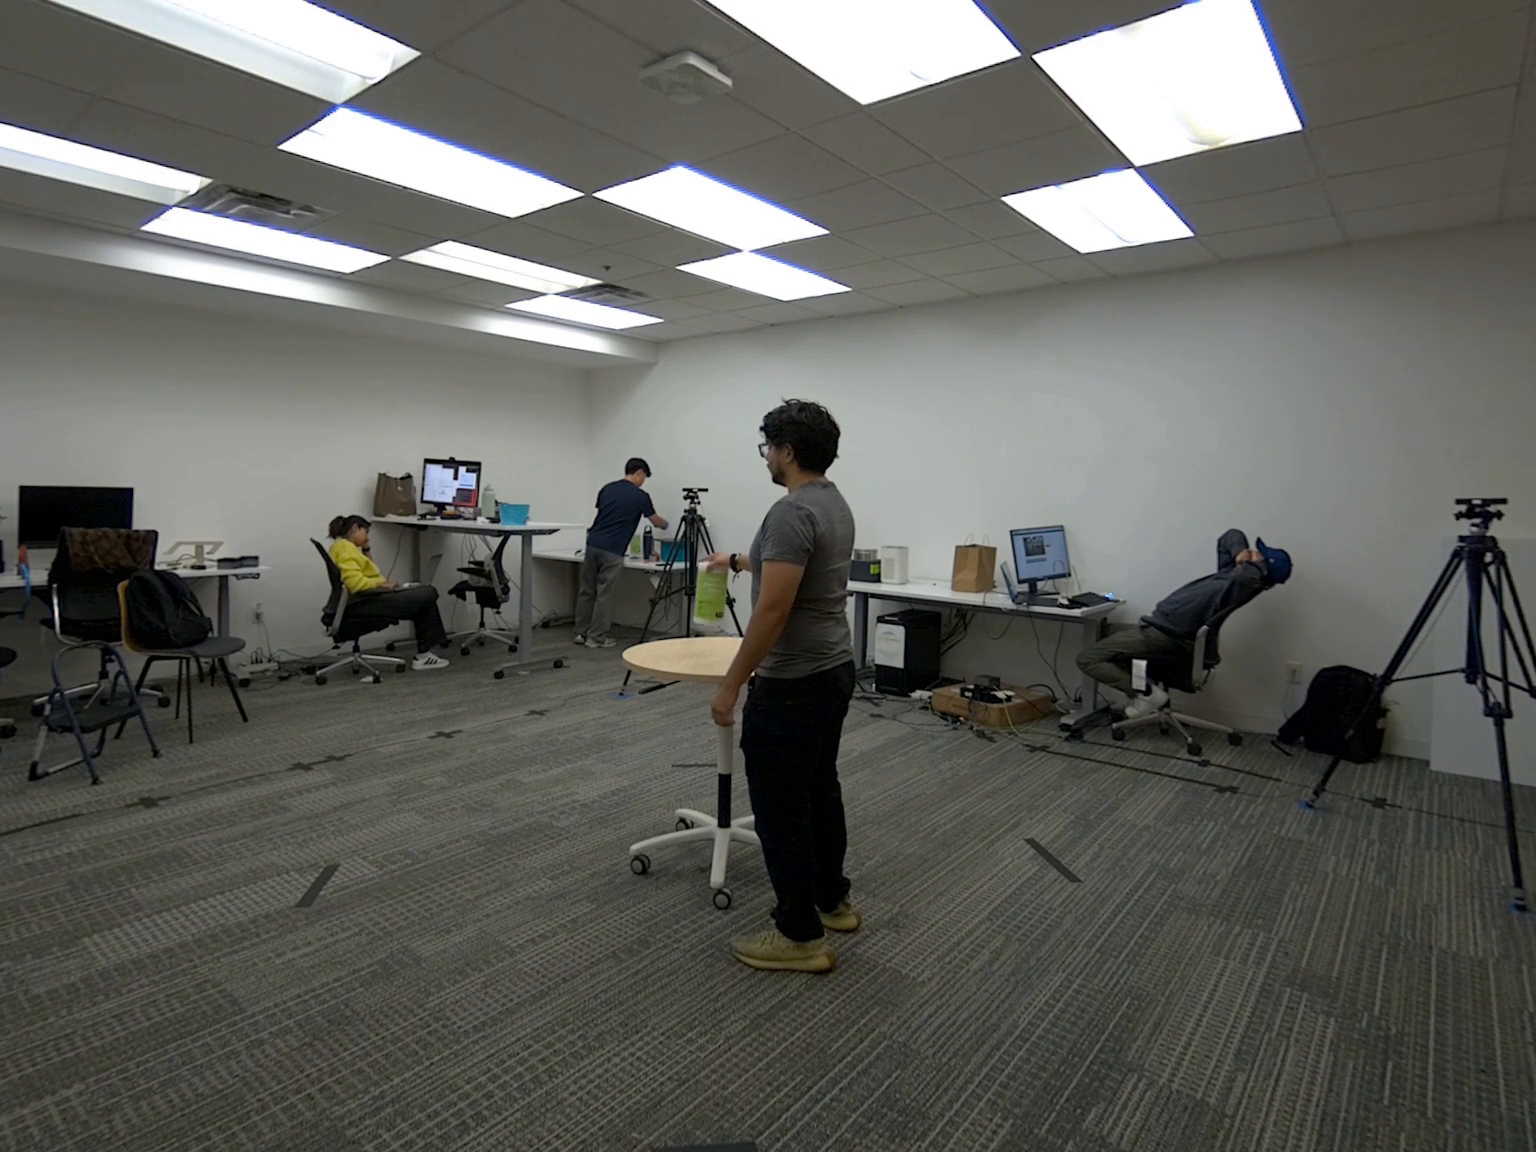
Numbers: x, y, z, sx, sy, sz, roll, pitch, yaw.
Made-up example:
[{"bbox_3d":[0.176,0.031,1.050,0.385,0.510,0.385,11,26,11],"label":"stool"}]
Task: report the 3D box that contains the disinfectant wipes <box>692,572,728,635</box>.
[{"bbox_3d":[-0.215,0.060,3.034,0.117,0.216,0.118,6,5,-2],"label":"disinfectant wipes"}]
